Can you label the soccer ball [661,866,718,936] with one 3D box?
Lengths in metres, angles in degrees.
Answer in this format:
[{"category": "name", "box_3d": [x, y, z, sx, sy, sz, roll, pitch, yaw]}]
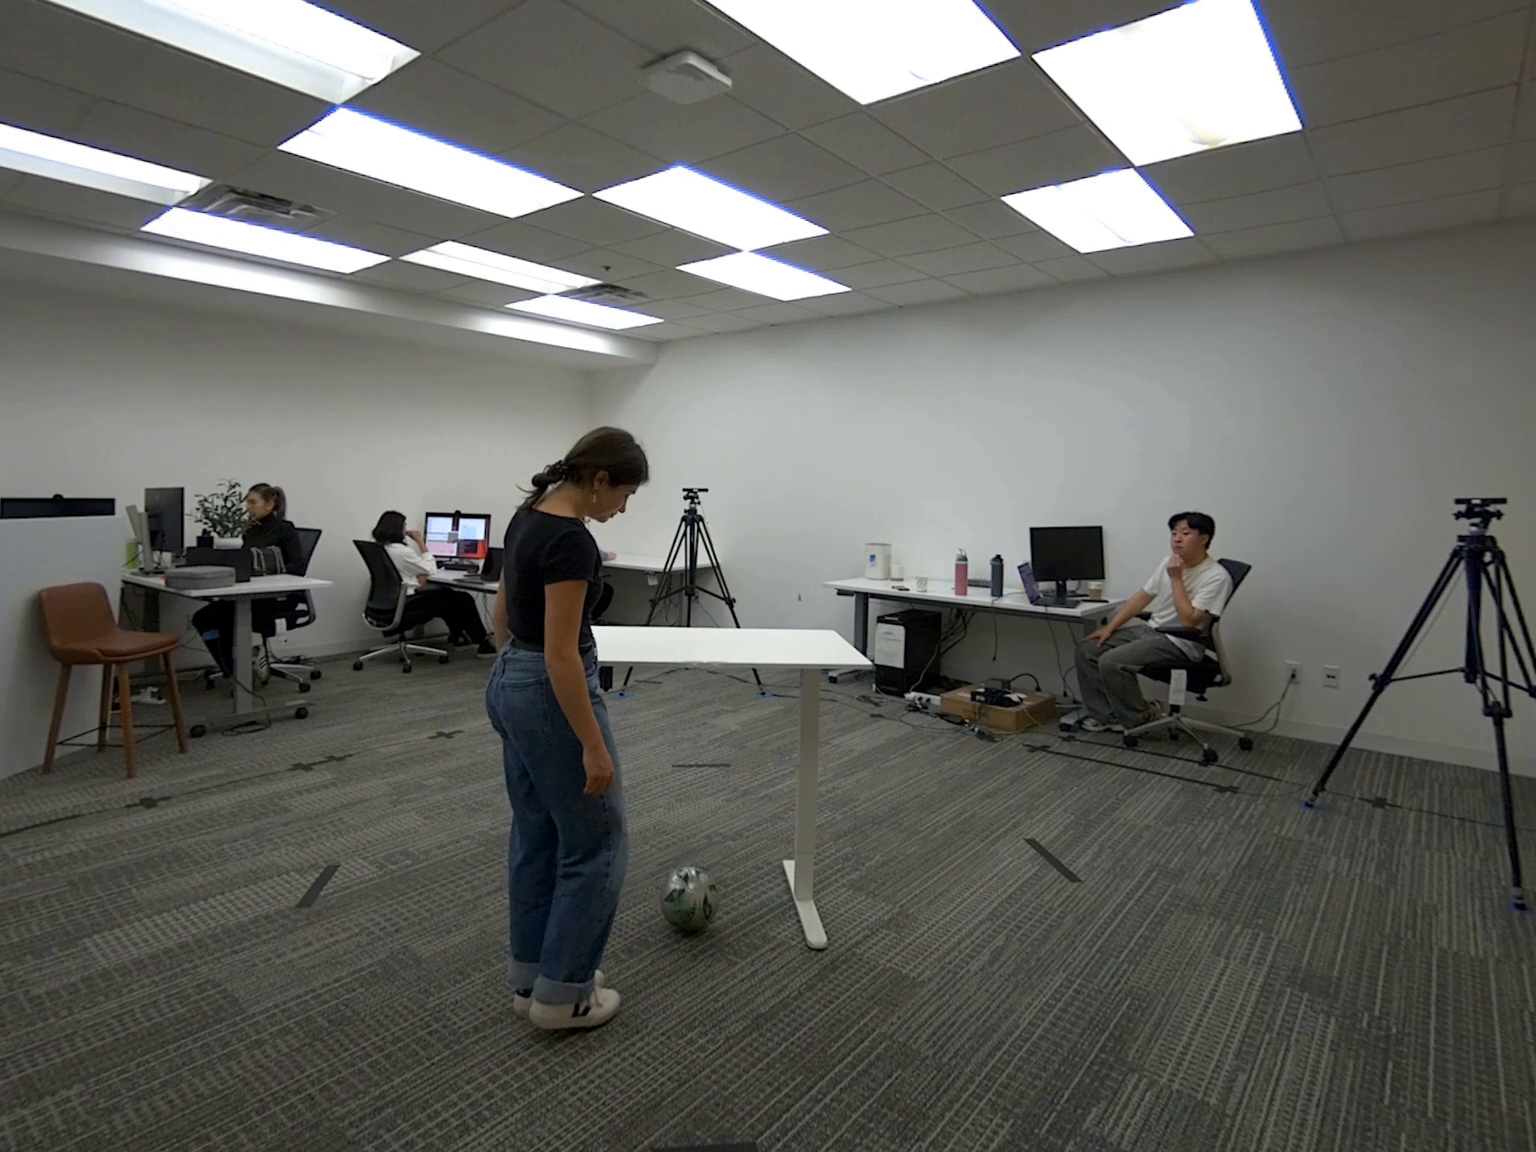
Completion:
[{"category": "soccer ball", "box_3d": [-0.247, 1.013, 2.685, 0.187, 0.187, 0.188, 1, 4, -2]}]
